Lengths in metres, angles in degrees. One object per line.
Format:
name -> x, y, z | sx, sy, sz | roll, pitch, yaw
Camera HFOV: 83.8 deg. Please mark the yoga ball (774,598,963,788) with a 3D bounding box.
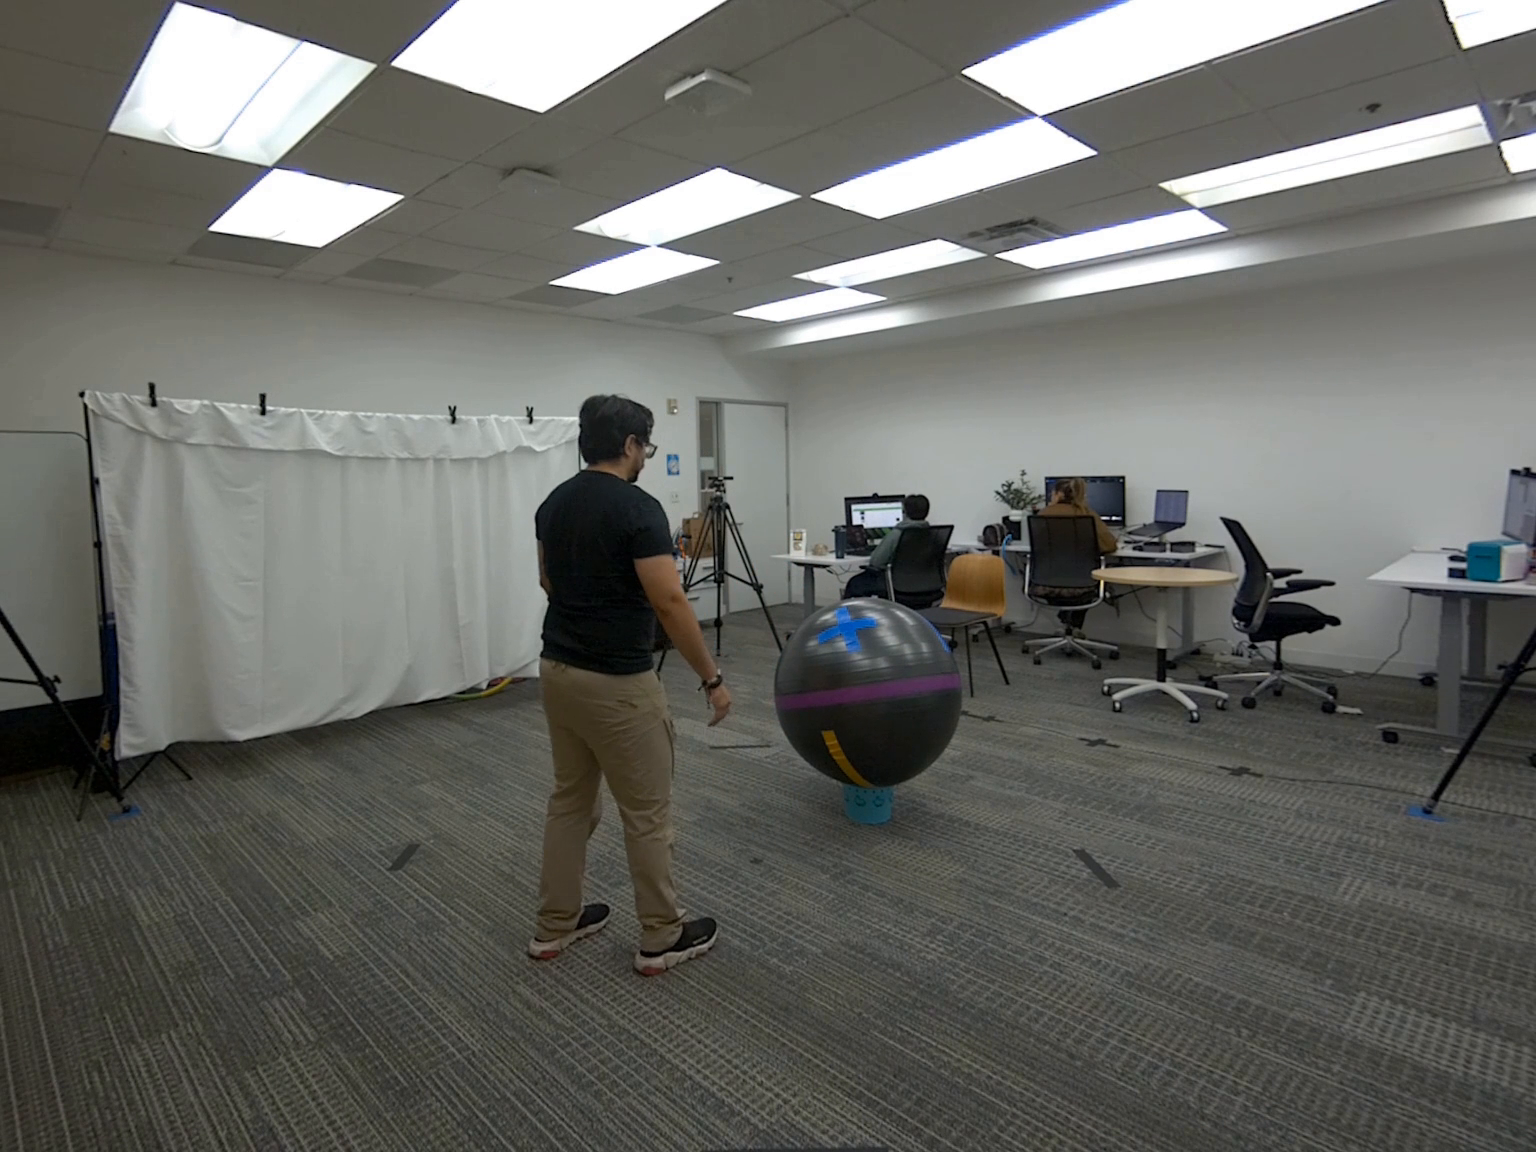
yoga ball -> 0.402, 0.473, 3.503 | 0.757, 0.755, 0.762 | -1, 5, -2
